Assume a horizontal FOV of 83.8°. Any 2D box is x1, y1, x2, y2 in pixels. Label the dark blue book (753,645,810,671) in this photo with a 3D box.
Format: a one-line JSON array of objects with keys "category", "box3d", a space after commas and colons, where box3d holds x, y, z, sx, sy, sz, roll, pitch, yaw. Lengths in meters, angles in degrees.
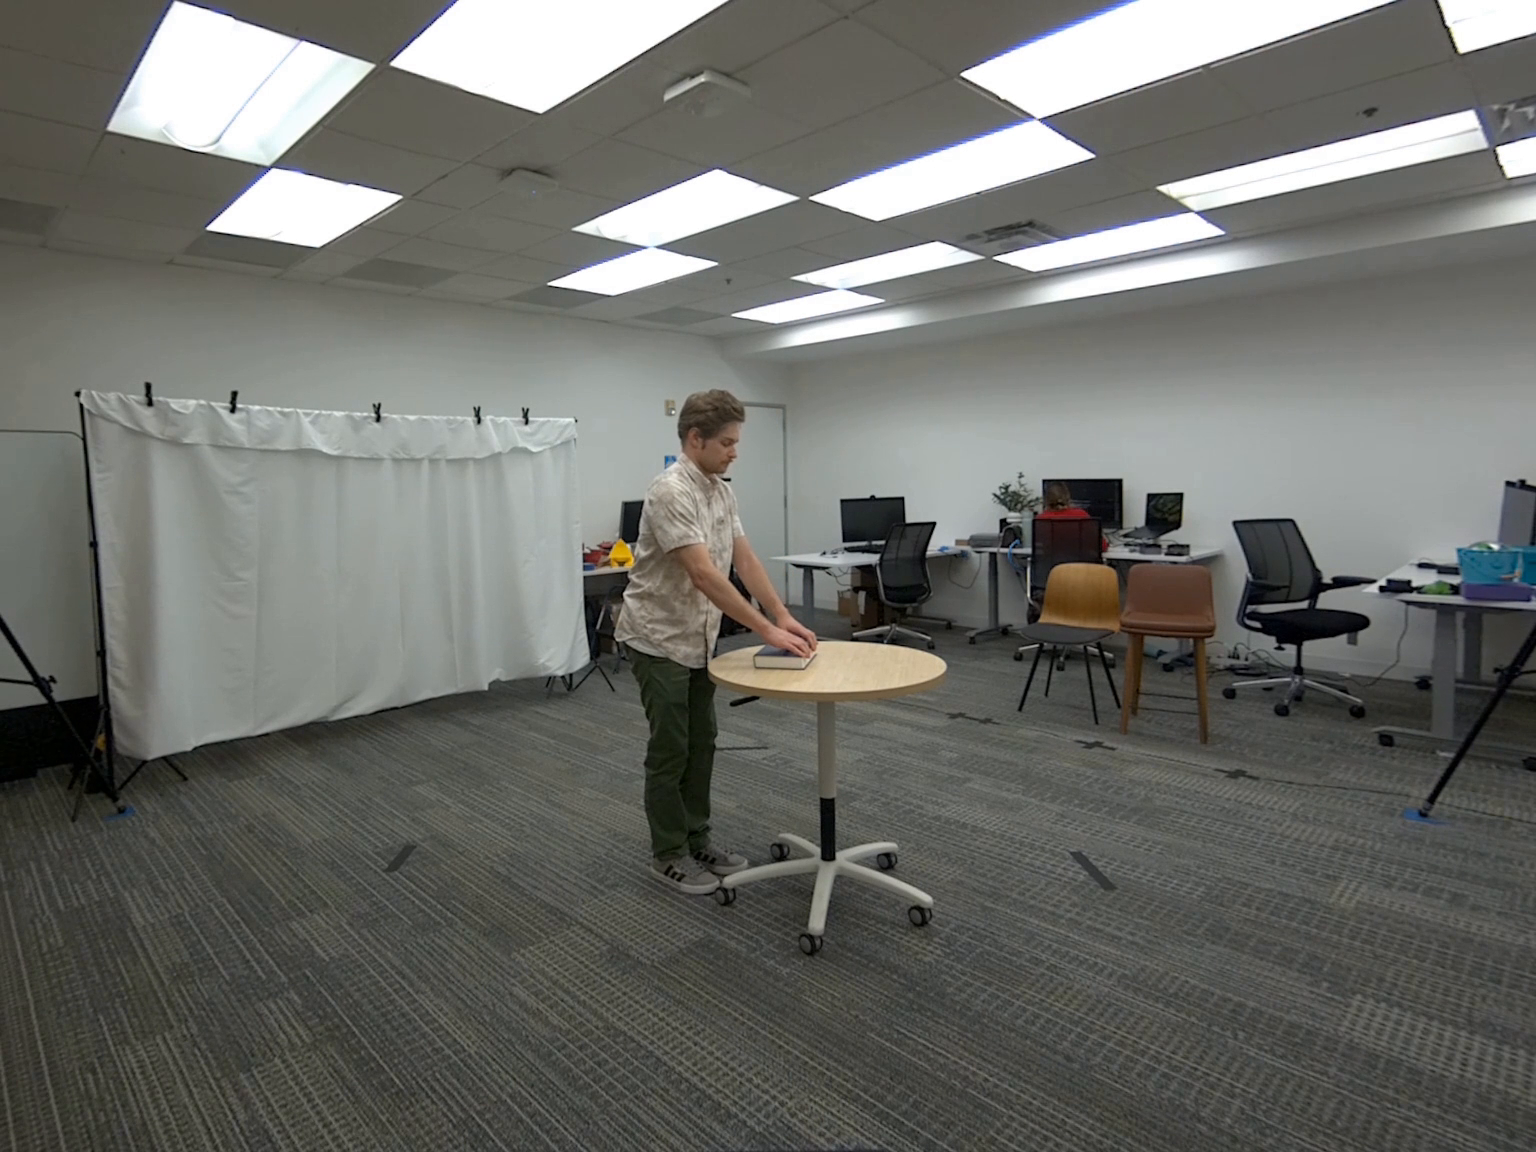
[{"category": "dark blue book", "box3d": [0.060, 0.262, 2.822, 0.165, 0.045, 0.243, 0, 5, 13]}]
